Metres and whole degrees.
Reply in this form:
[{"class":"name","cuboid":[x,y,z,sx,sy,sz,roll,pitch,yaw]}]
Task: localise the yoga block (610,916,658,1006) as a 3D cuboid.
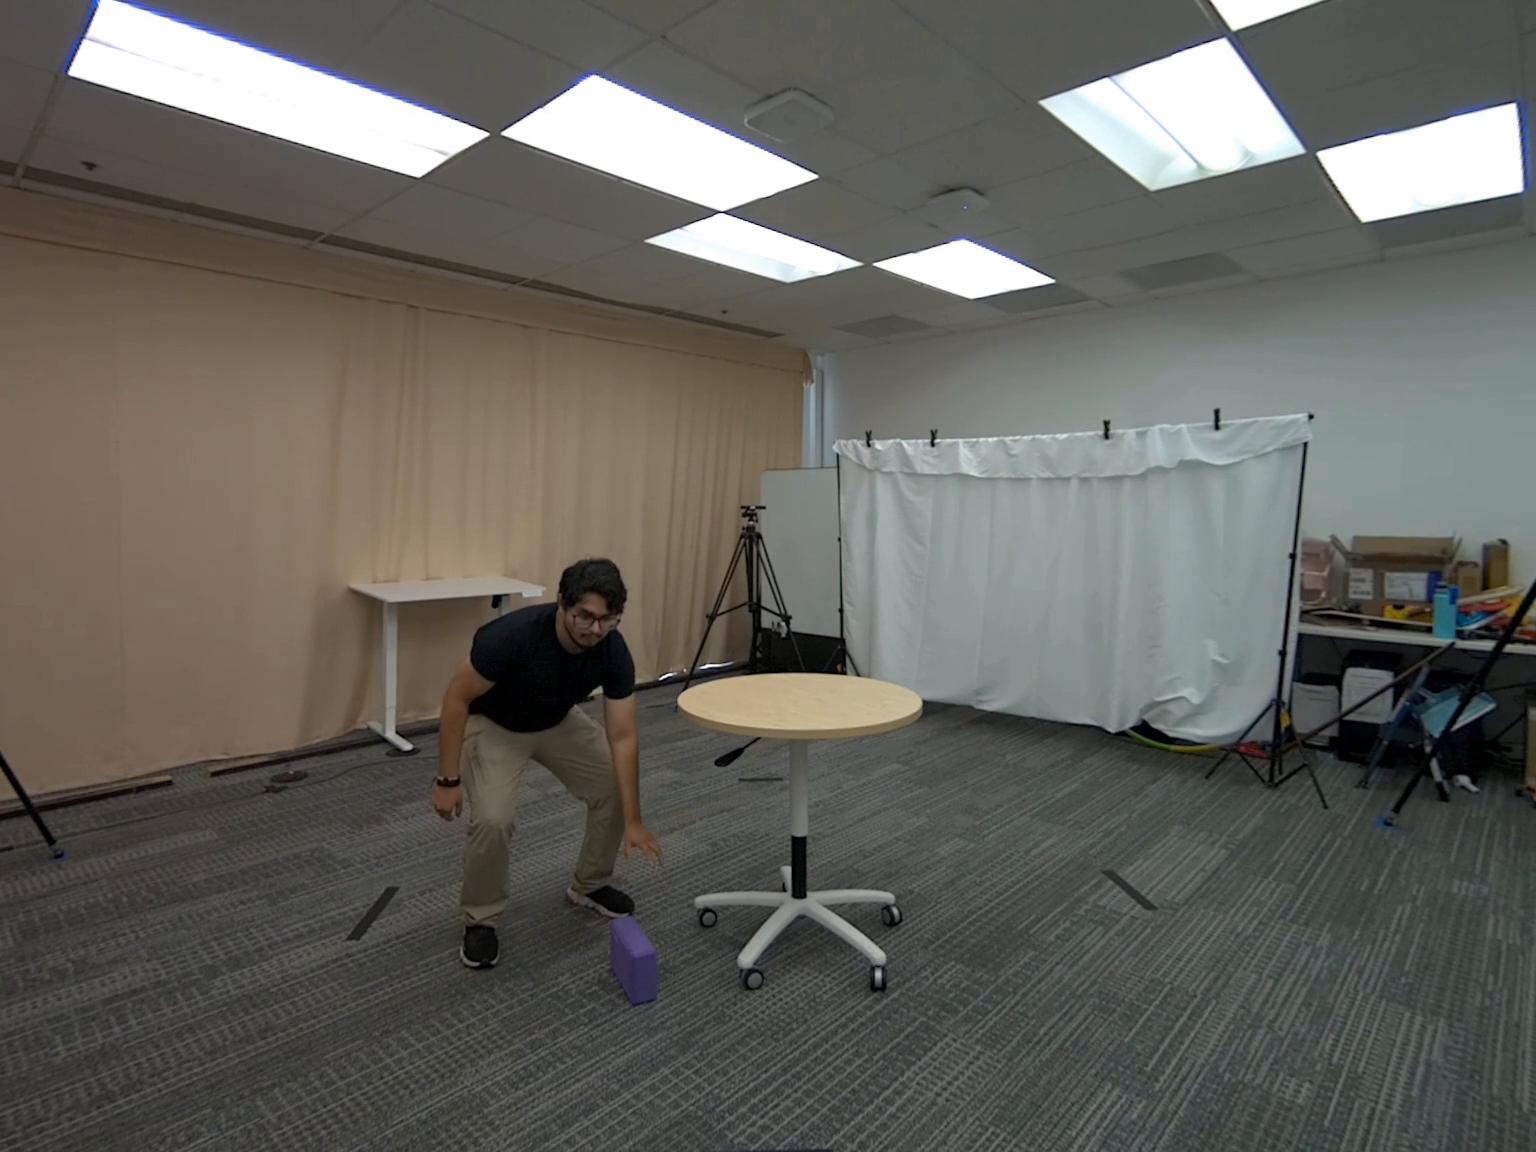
[{"class":"yoga block","cuboid":[-0.391,1.114,2.450,0.074,0.149,0.235,0,4,-26]}]
